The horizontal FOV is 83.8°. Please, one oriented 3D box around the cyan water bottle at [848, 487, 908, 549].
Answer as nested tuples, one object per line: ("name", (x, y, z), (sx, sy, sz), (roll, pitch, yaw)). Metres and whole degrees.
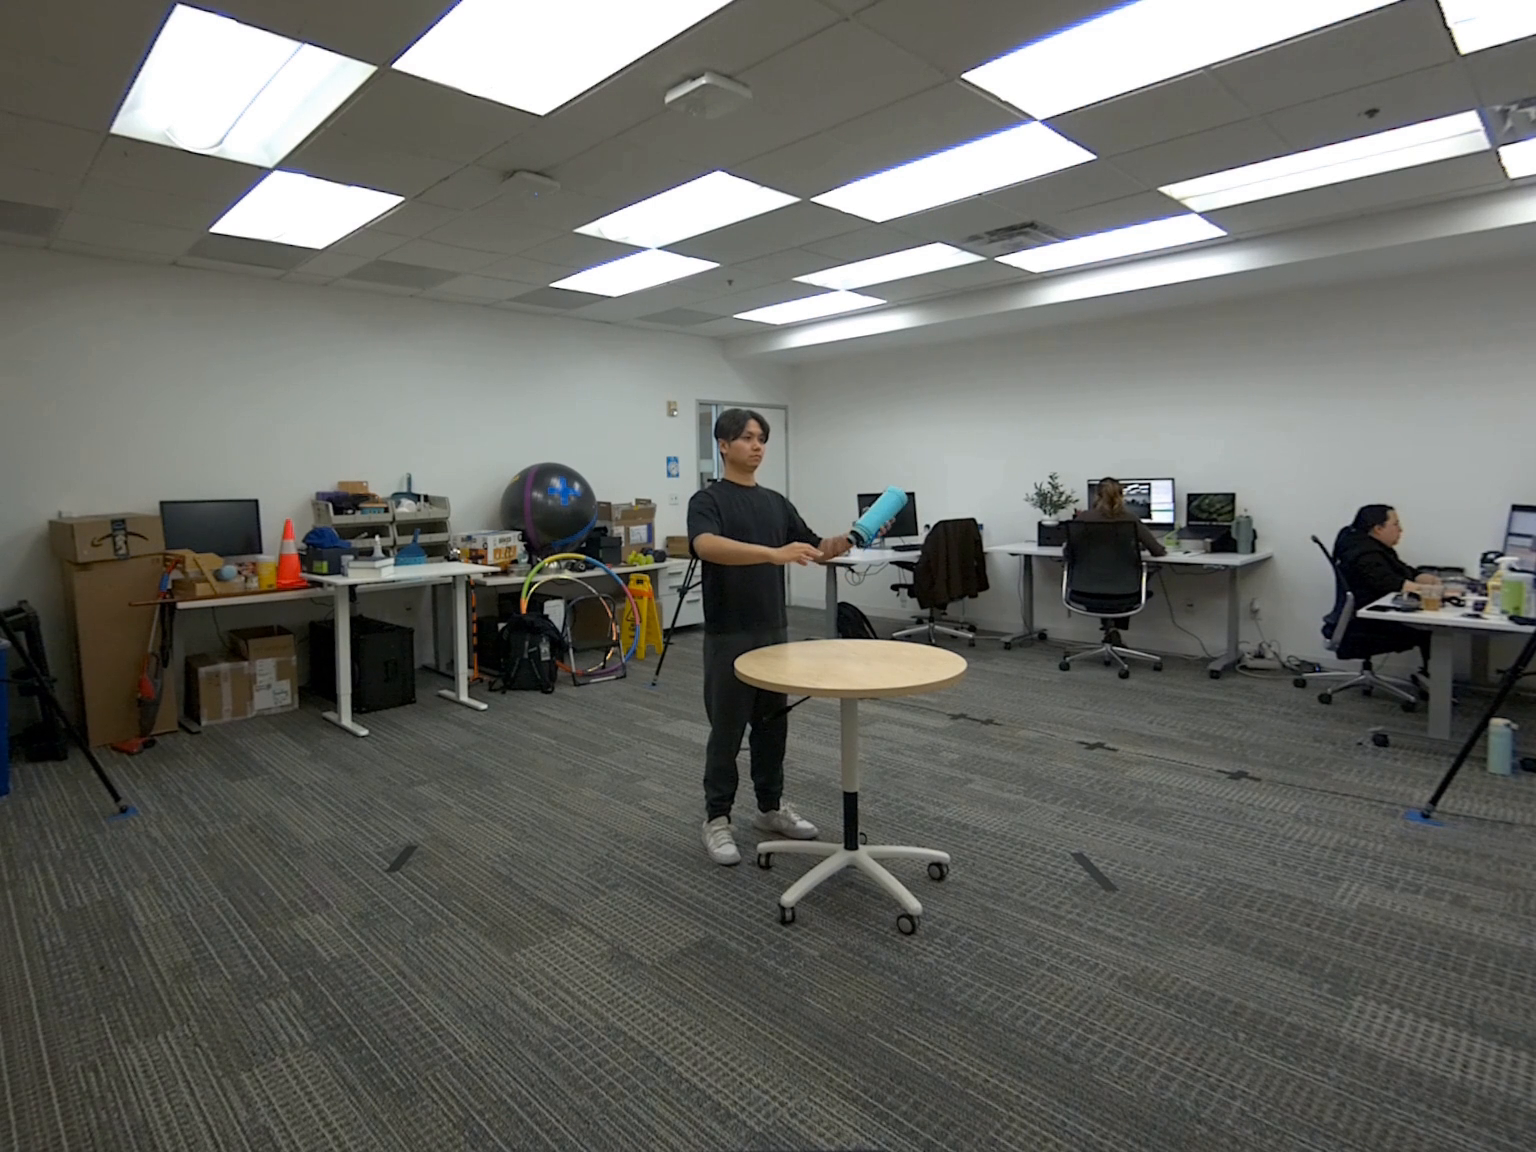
("cyan water bottle", (0.395, -0.214, 3.168), (0.283, 0.090, 0.095), (-47, 24, -20))
